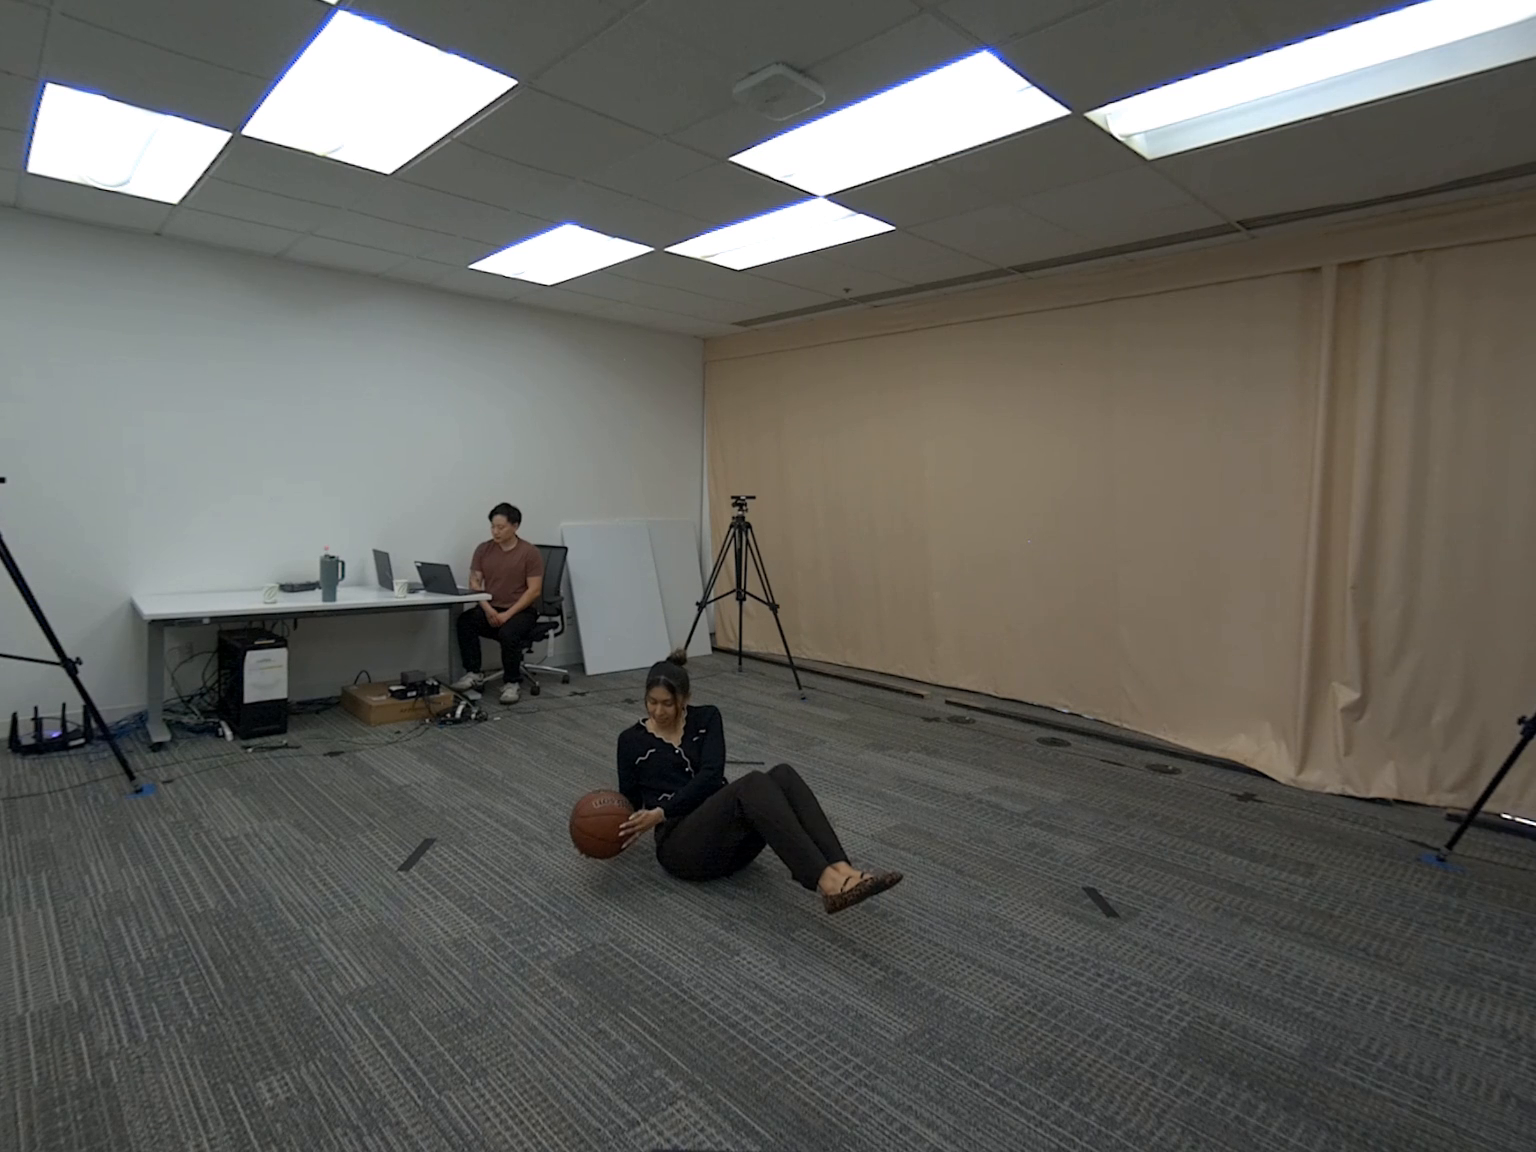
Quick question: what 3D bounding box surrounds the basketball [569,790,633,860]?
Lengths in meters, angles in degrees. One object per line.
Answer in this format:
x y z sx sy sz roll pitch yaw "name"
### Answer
-0.589 0.864 2.980 0.236 0.235 0.237 1 4 -1 "basketball"
